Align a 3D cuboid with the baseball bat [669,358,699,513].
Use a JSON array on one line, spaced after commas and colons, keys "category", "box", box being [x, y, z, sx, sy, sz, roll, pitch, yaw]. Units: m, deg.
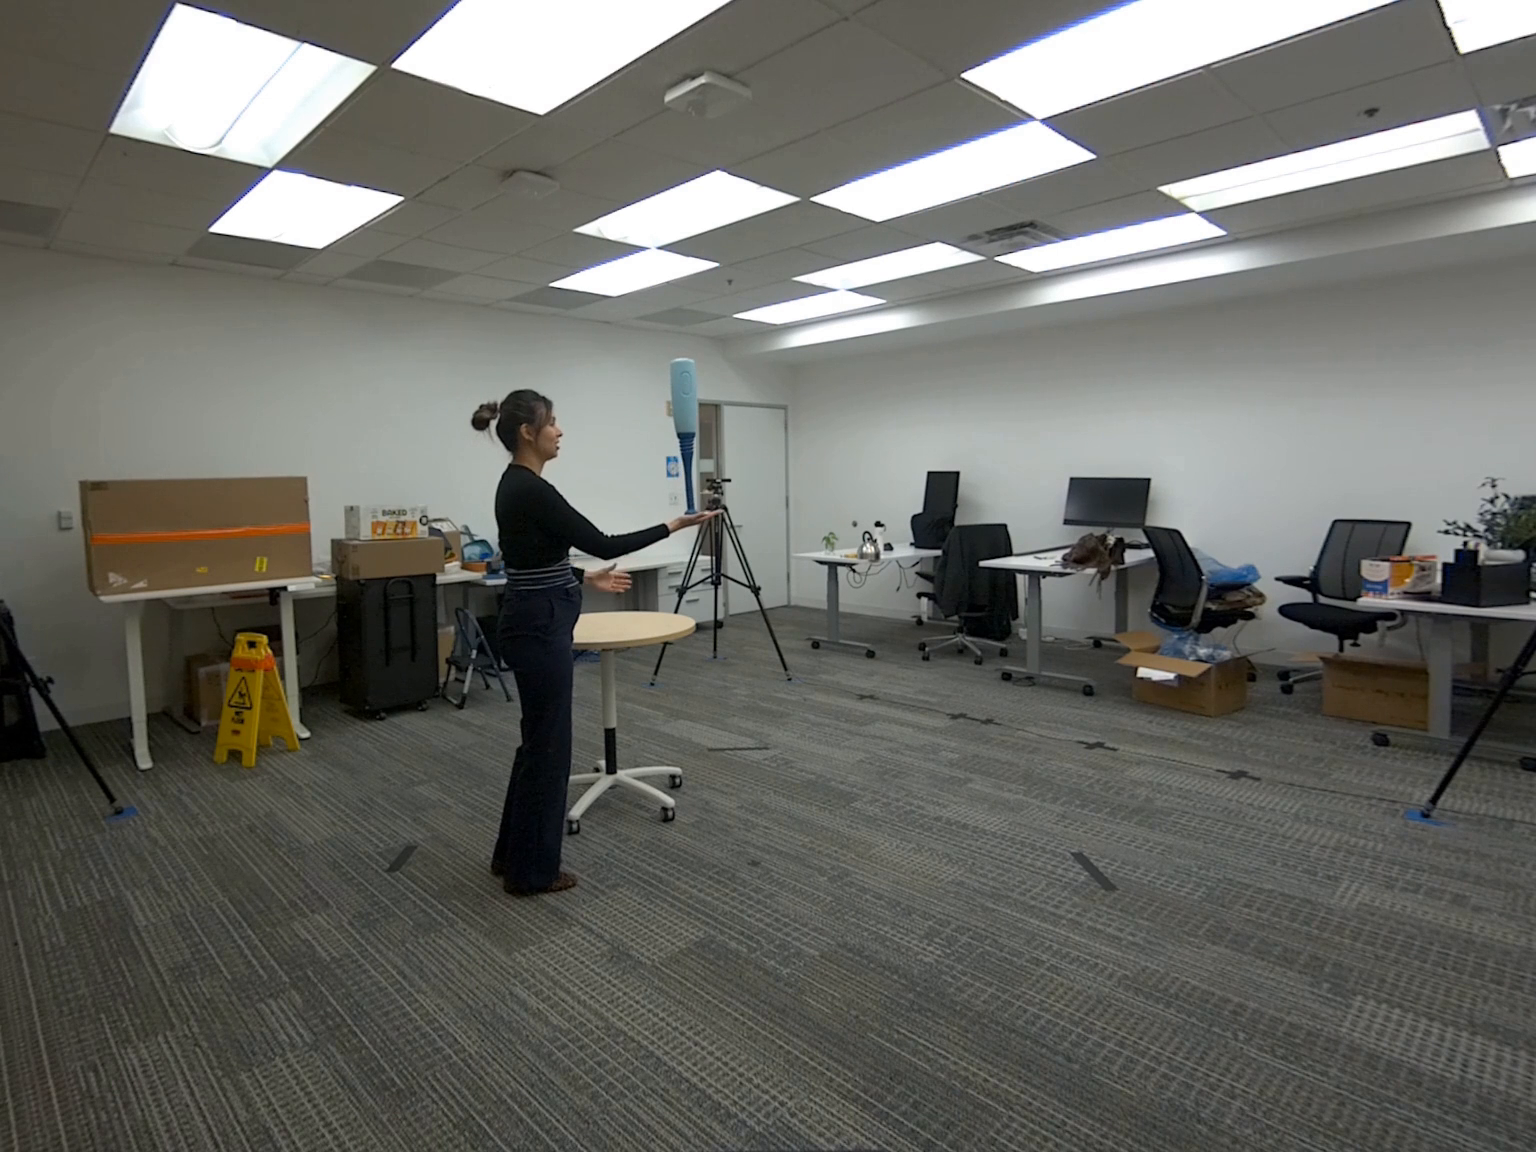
[{"category": "baseball bat", "box": [-0.290, -0.471, 2.942, 0.089, 0.541, 0.089, -3, 3, -1]}]
